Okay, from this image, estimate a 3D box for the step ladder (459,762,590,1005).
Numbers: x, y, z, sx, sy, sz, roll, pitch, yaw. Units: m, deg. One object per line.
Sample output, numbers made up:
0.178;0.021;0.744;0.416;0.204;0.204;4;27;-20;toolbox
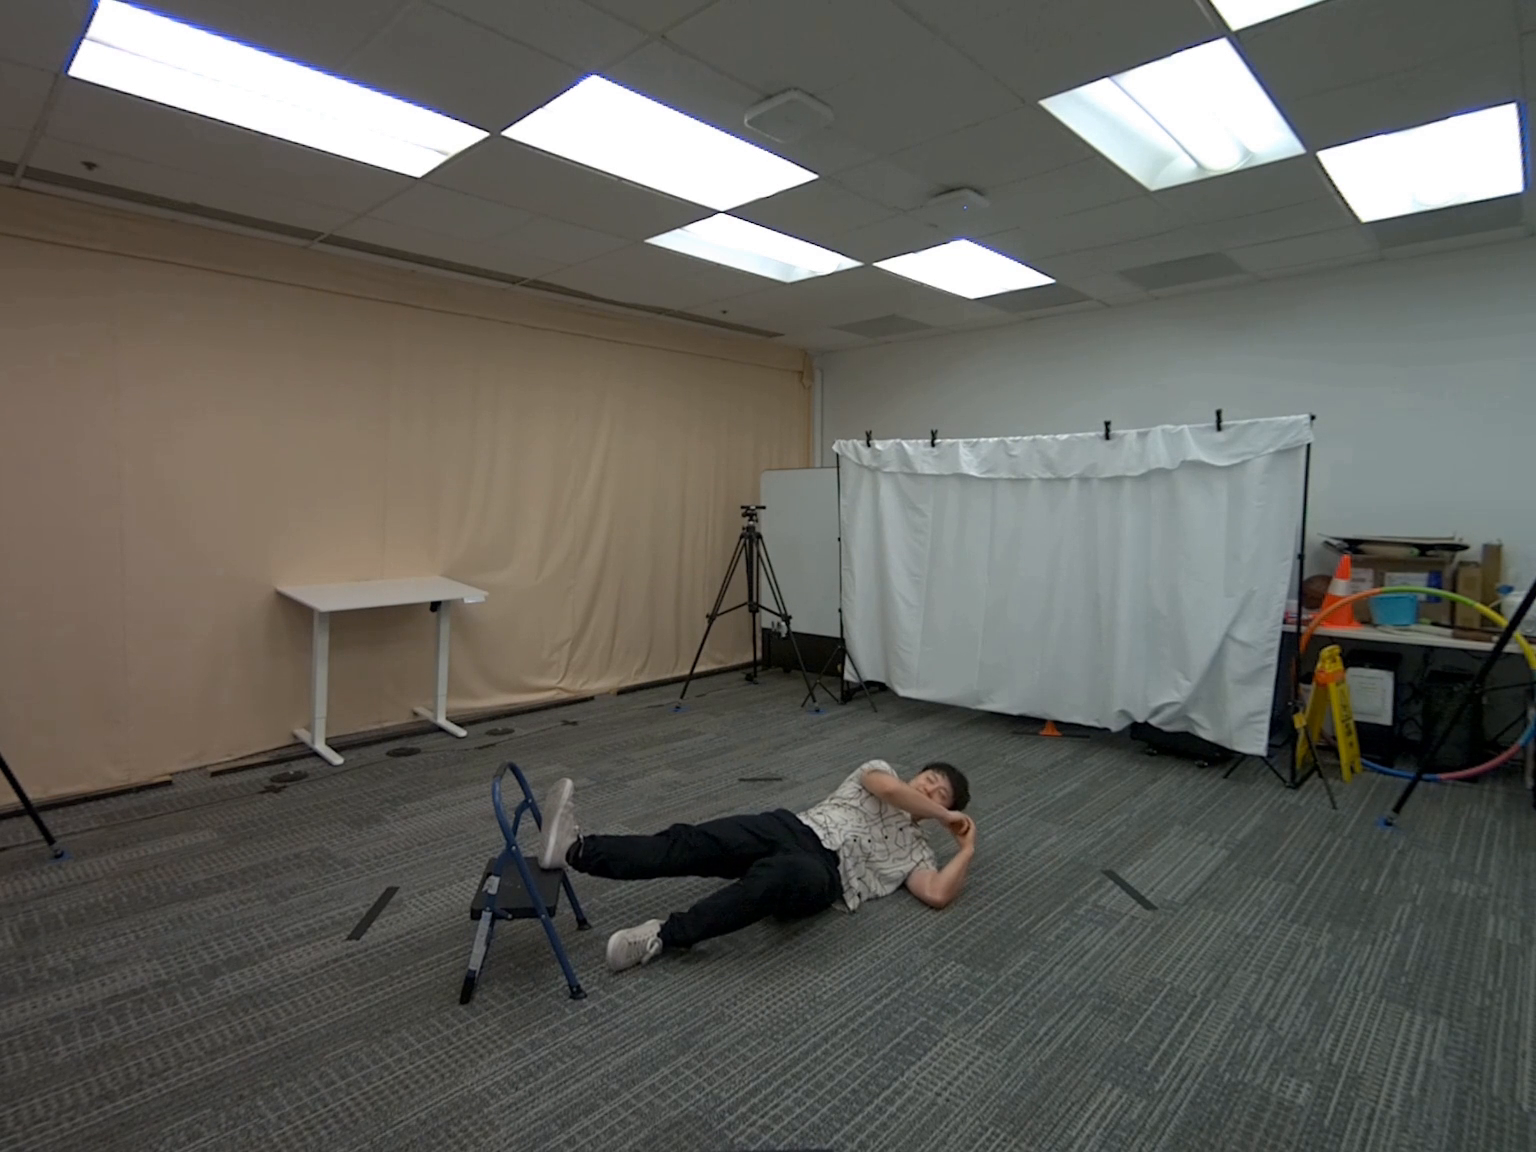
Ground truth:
-0.730;0.885;2.553;0.346;0.605;0.435;-1;3;-9;step ladder
